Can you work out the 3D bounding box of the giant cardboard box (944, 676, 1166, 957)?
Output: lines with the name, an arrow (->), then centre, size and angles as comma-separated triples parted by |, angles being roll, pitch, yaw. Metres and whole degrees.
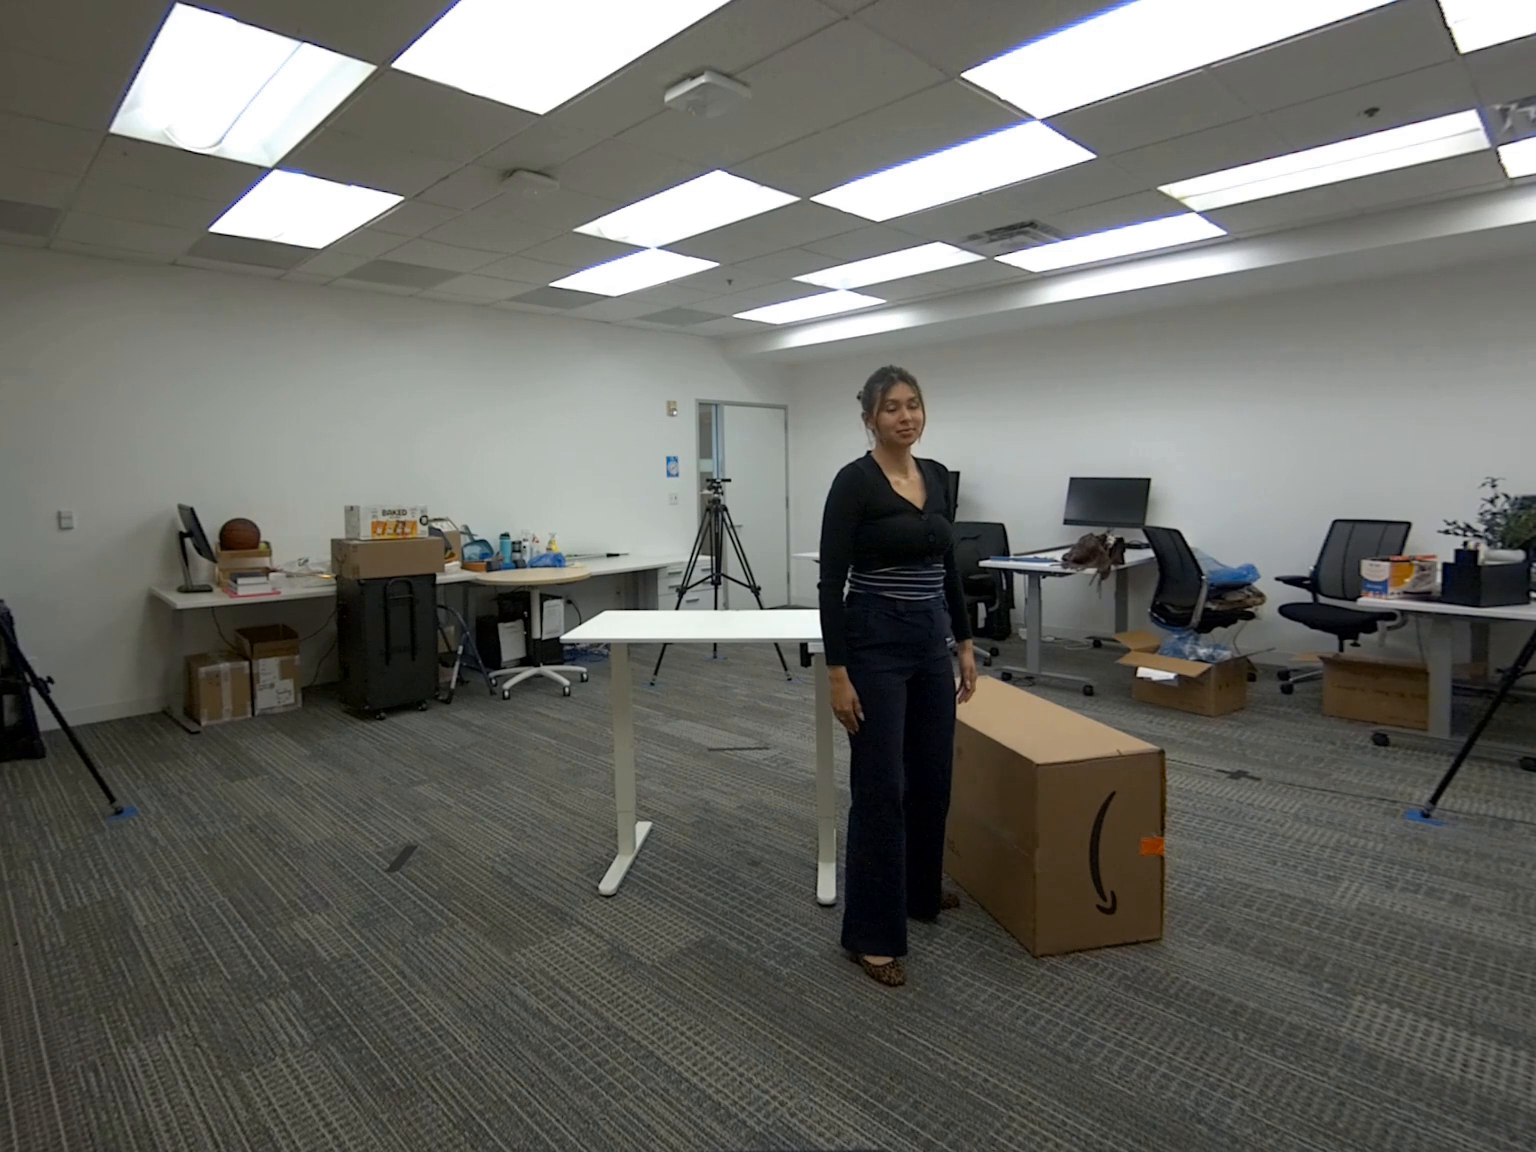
giant cardboard box -> 0.845, 0.752, 2.988 | 0.421, 0.575, 1.043 | -2, 6, -14
